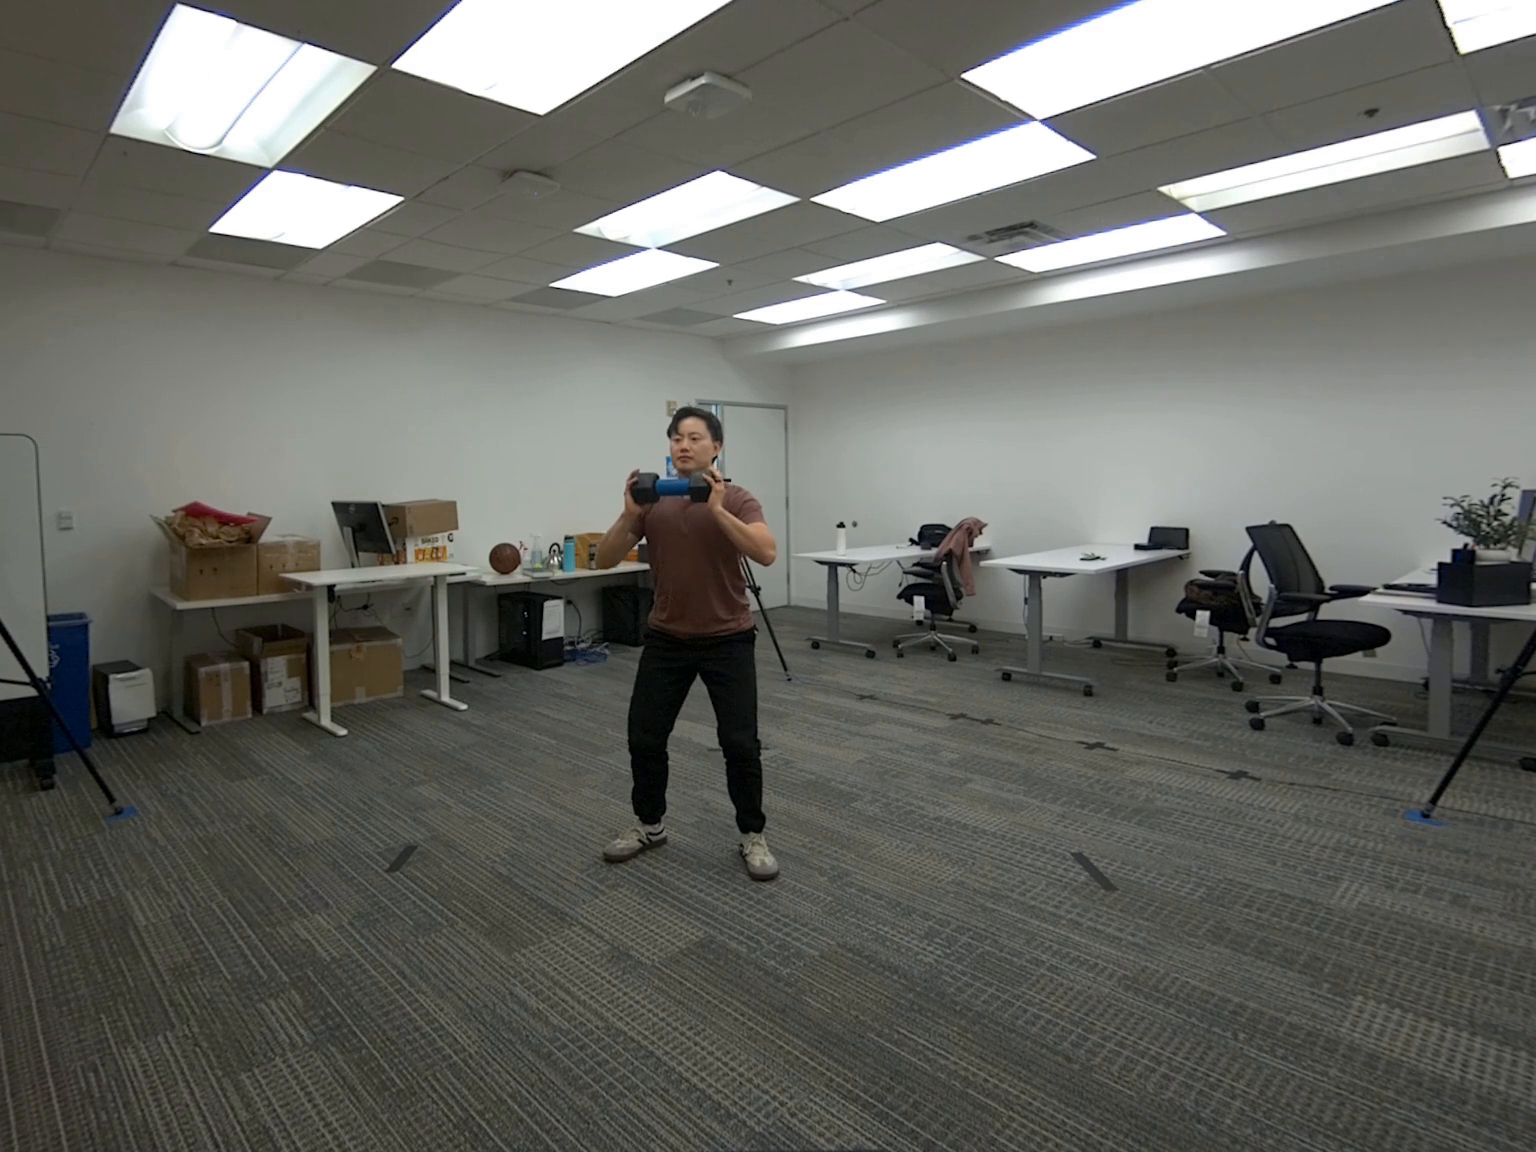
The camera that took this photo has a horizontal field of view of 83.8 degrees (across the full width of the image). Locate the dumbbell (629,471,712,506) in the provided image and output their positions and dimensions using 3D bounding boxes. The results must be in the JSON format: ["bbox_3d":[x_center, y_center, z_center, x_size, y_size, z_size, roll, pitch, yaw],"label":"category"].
[{"bbox_3d":[-0.320,-0.288,2.949,0.298,0.109,0.121,4,1,16],"label":"dumbbell"}]
